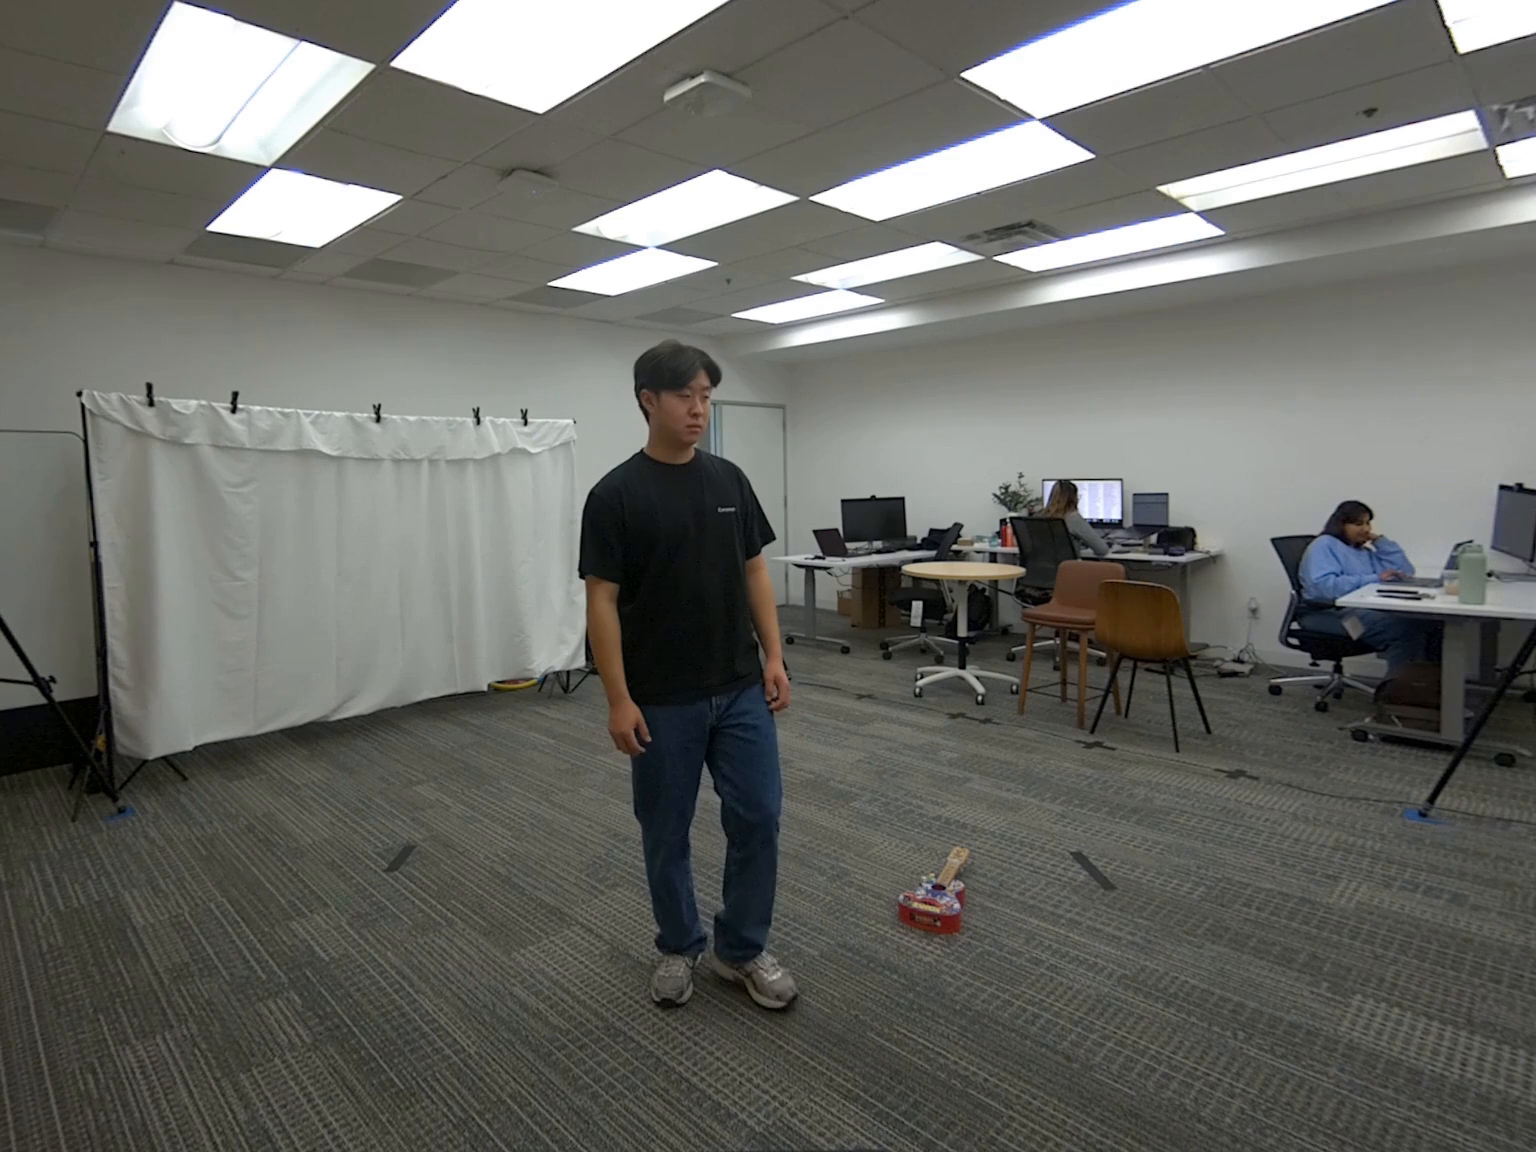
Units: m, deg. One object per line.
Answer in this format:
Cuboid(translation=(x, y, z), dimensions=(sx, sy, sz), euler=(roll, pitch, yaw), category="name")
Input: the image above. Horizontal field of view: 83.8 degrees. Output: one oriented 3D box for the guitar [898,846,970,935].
Cuboid(translation=(0.616, 1.030, 2.820), dimensions=(0.199, 0.070, 0.486), euler=(3, 8, 36), category="guitar")
